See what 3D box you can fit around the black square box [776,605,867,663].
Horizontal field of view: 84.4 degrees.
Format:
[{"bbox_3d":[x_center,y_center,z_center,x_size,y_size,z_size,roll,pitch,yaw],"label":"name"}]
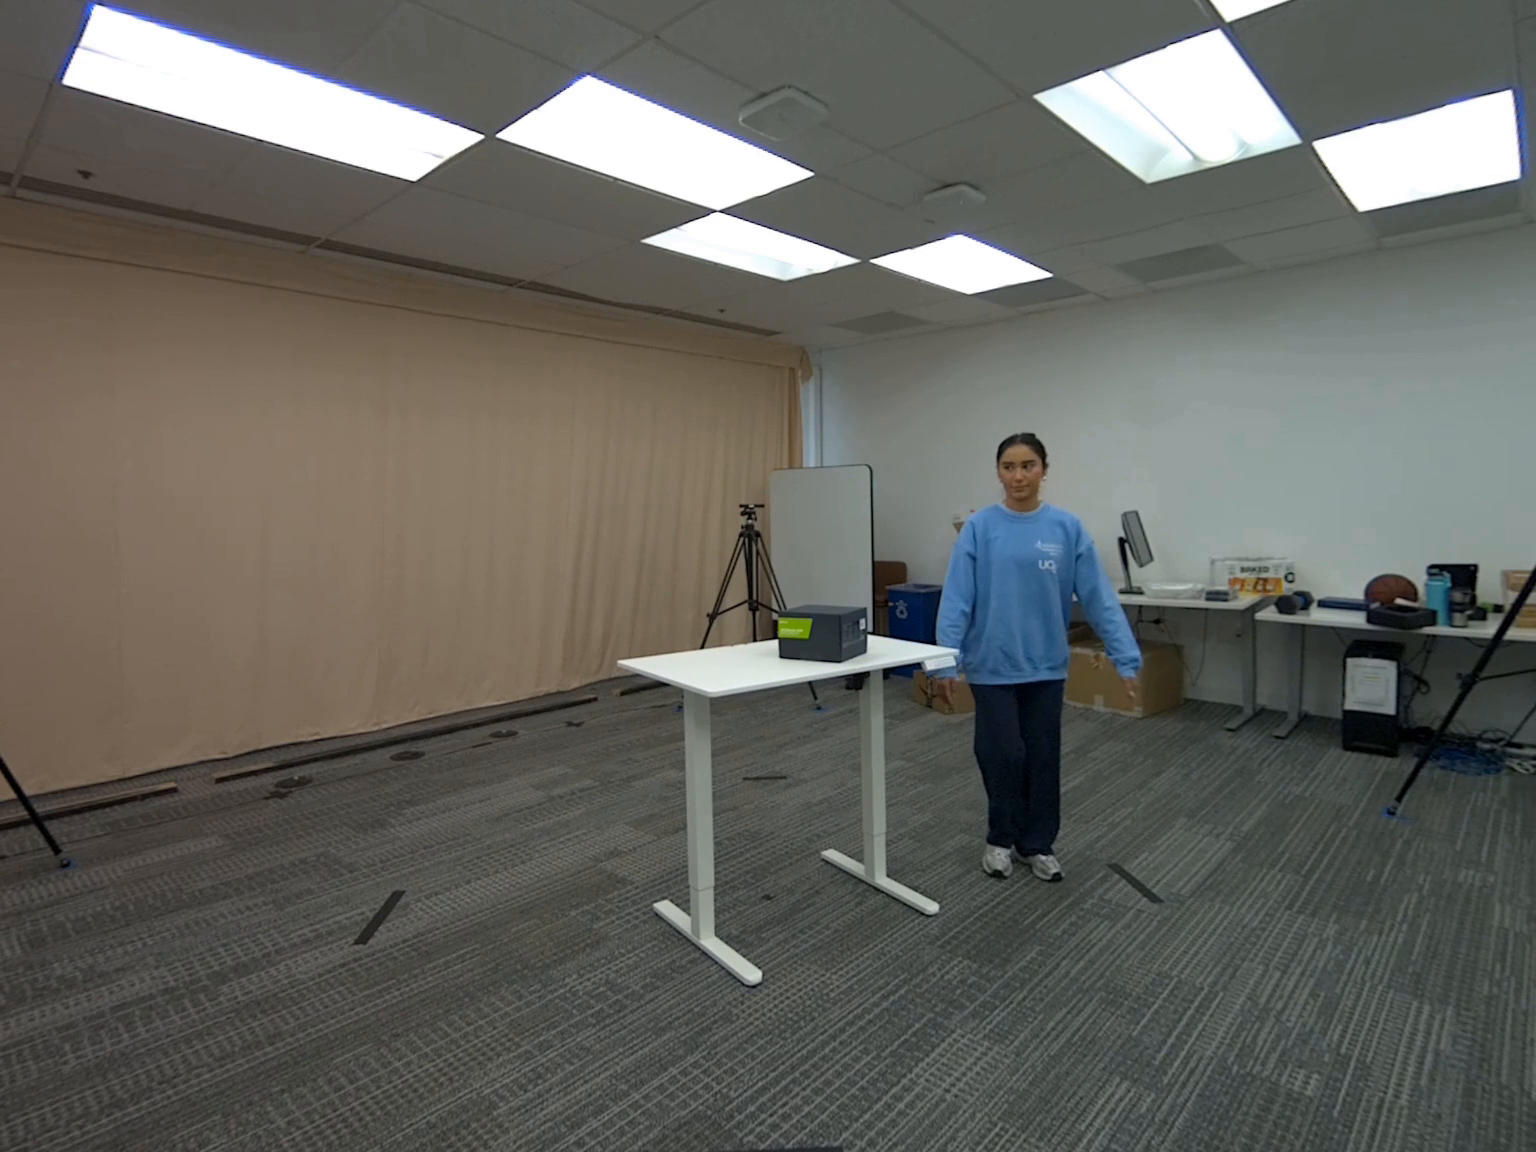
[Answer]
[{"bbox_3d":[0.185,0.188,2.813,0.235,0.155,0.211,1,5,32],"label":"black square box"}]
